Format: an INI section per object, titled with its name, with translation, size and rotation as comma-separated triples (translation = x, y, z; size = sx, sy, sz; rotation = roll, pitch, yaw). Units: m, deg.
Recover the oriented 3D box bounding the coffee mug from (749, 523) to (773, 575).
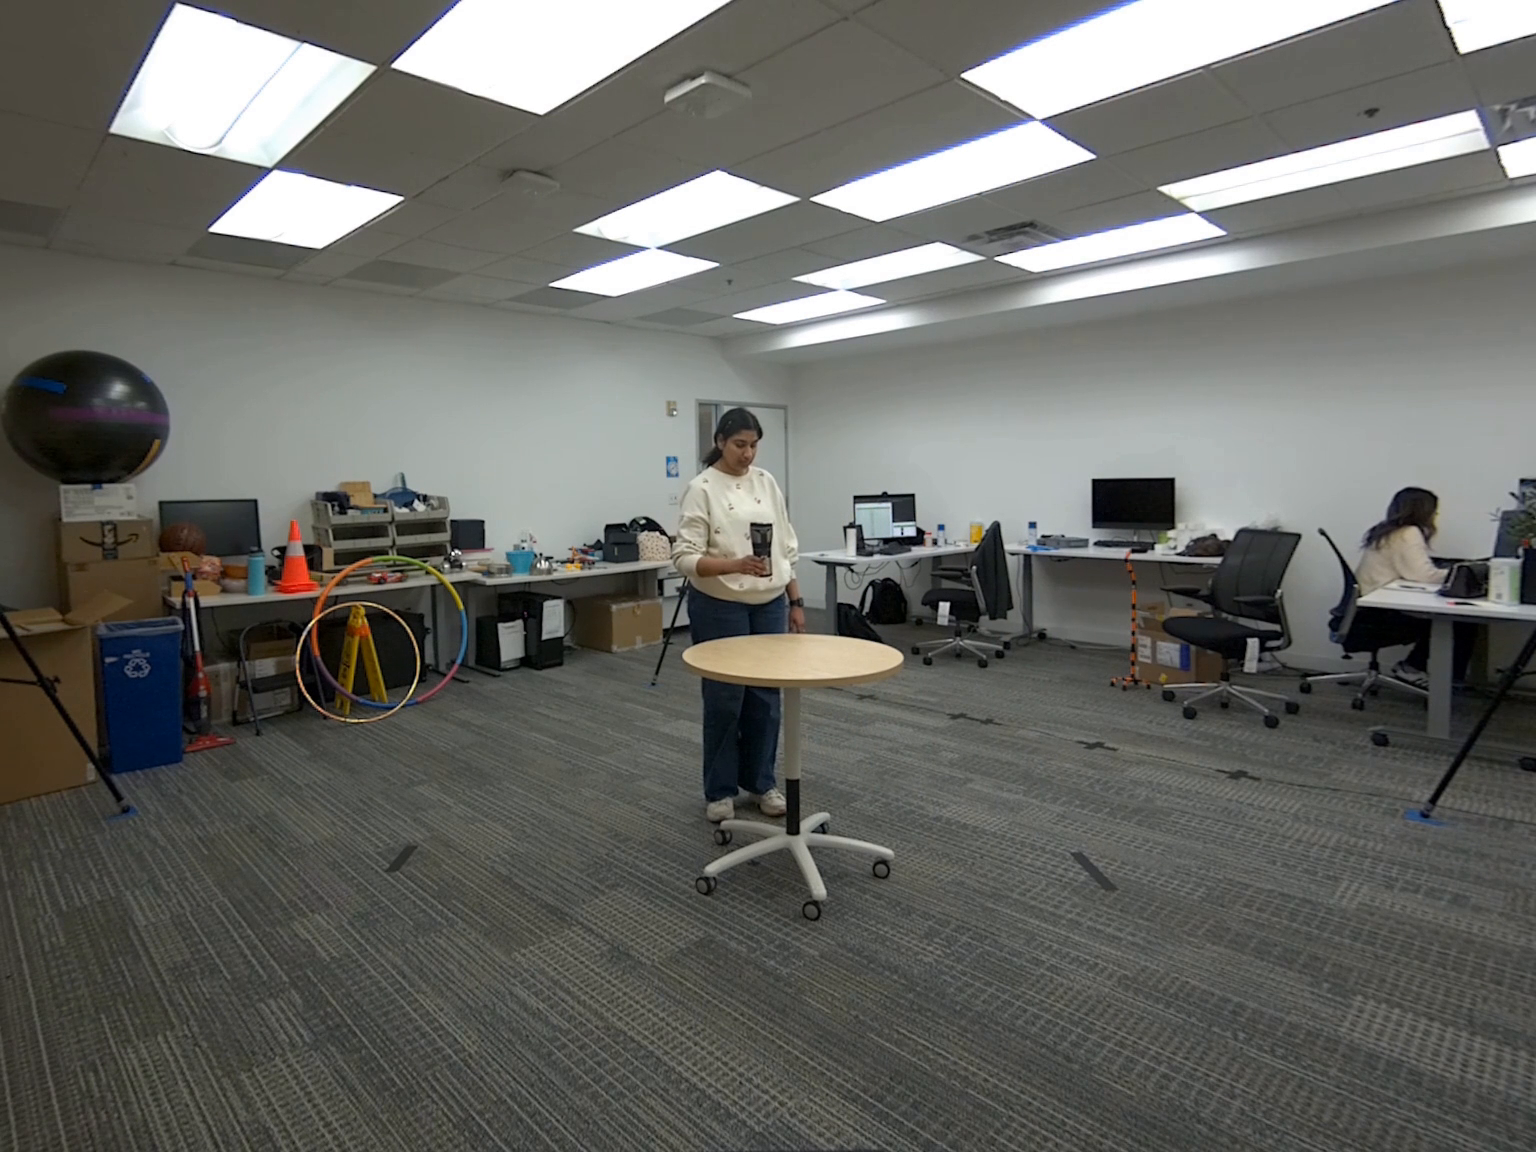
[coffee mug]
translation = -0.031, -0.090, 3.176
size = 0.090, 0.202, 0.120
rotation = 1, 8, 22
